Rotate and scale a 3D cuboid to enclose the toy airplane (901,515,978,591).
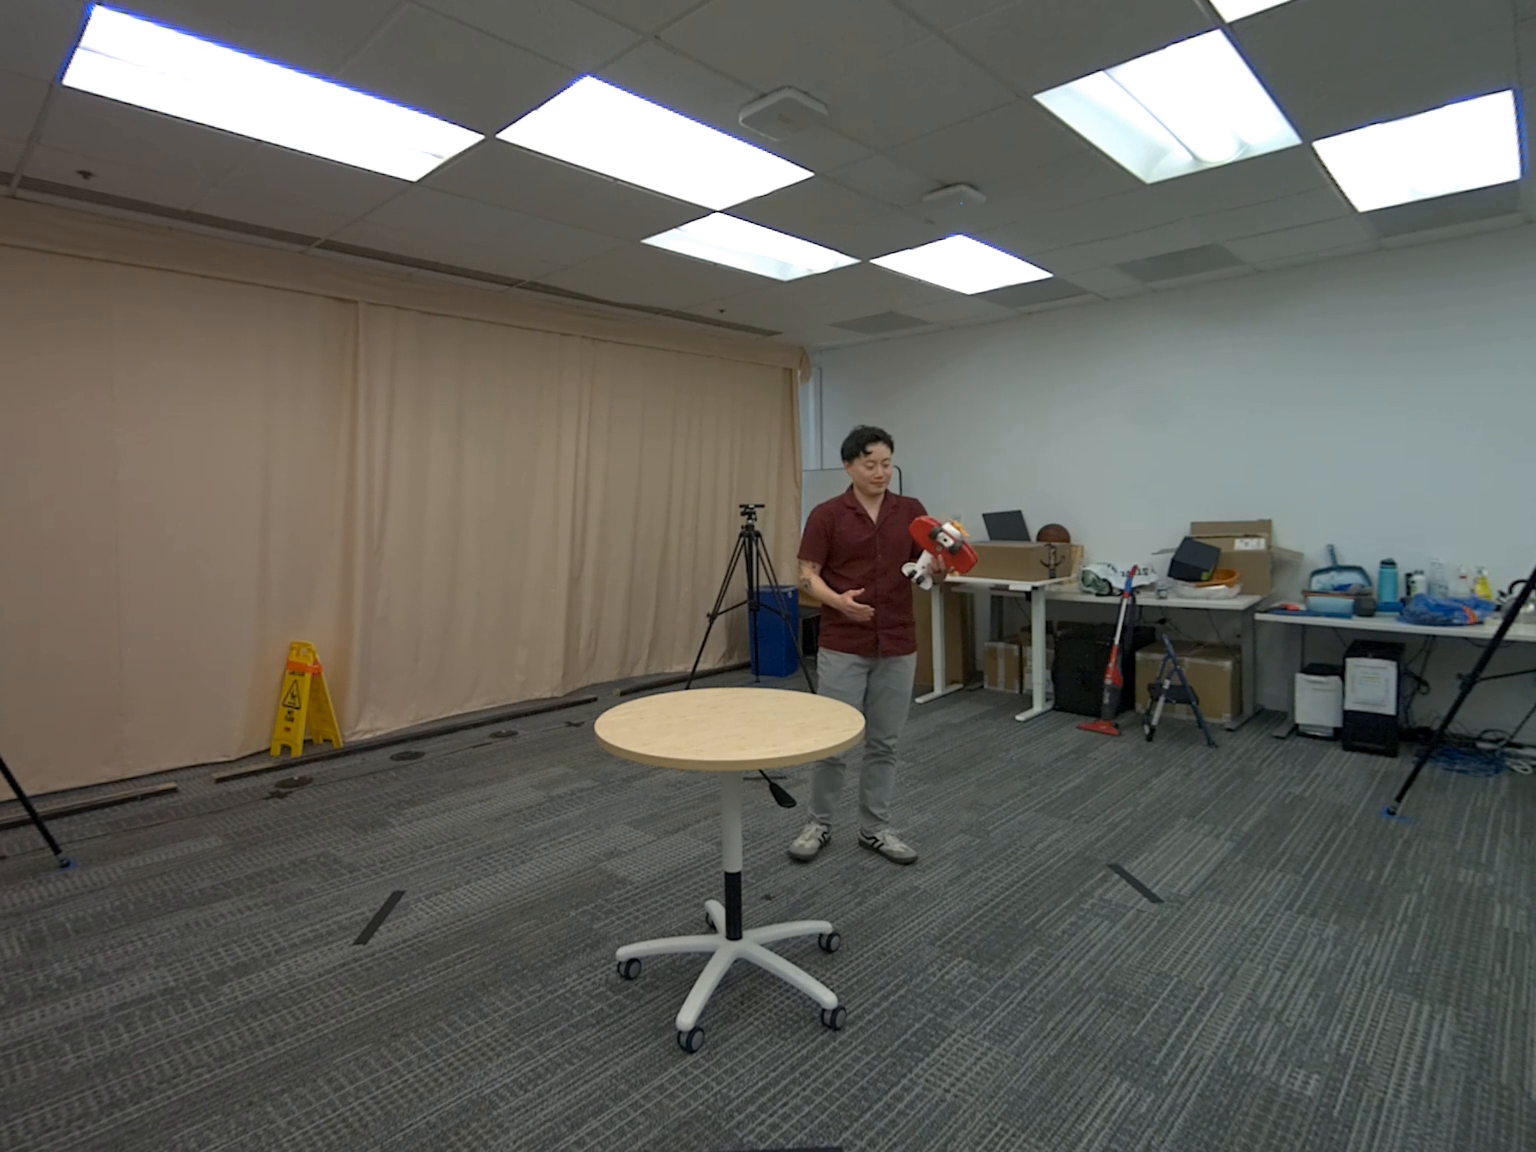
[{"bbox_3d":[0.581,-0.089,2.995,0.264,0.250,0.154,-25,4,37],"label":"toy airplane"}]
